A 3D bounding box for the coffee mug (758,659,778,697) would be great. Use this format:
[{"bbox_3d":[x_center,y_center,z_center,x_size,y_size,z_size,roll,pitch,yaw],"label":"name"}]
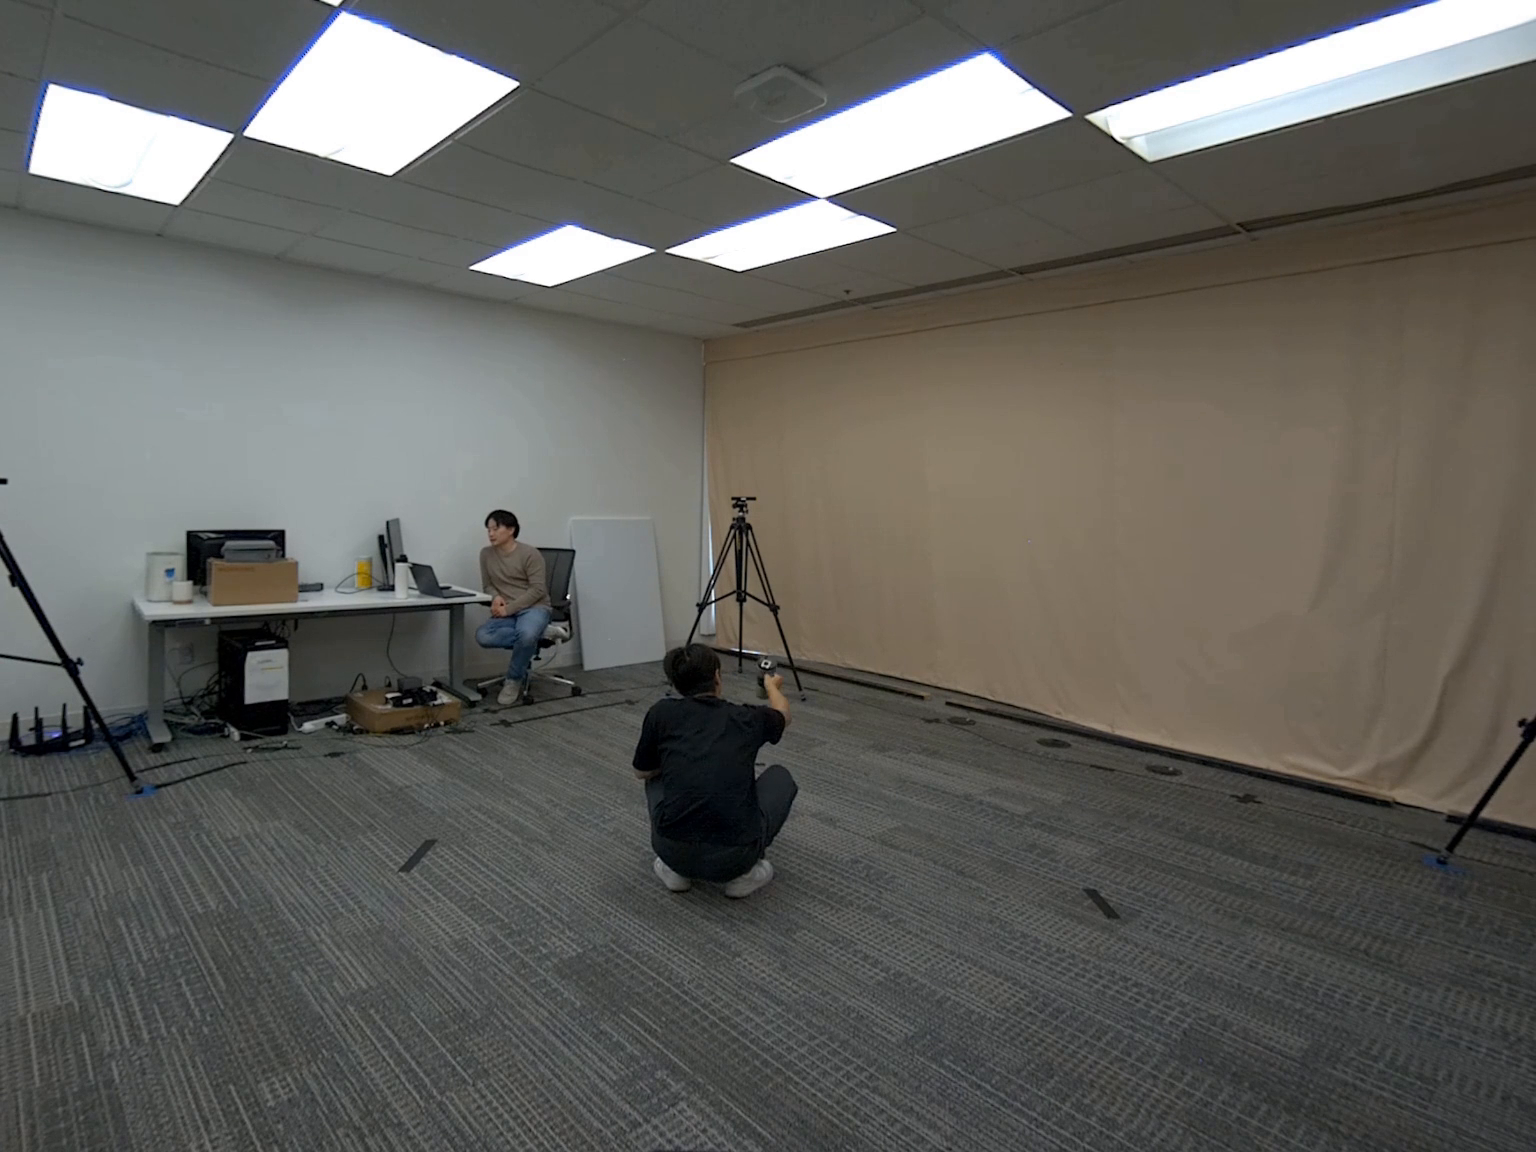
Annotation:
[{"bbox_3d":[-0.023,0.526,3.746,0.087,0.199,0.126,-7,37,-18],"label":"coffee mug"}]
